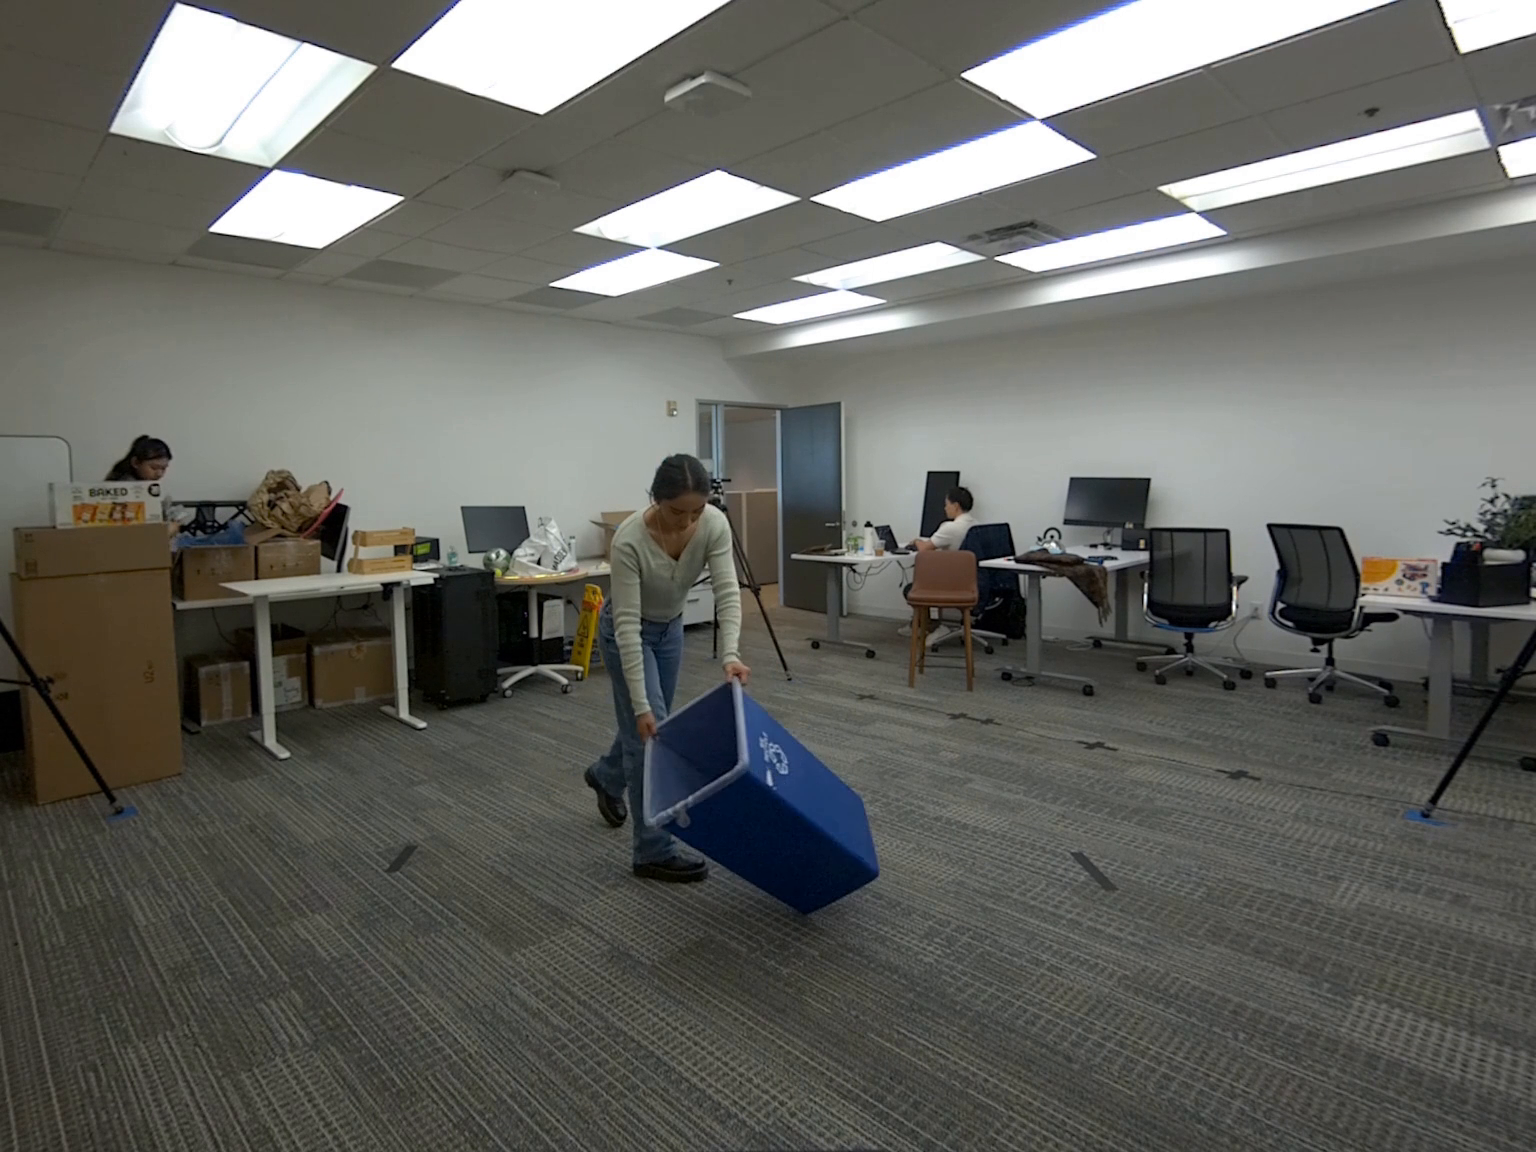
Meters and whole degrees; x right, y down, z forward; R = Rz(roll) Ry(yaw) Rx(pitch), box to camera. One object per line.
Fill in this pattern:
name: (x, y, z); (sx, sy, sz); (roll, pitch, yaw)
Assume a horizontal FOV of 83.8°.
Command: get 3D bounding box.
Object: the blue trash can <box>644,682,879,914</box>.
blue trash can: (-0.007, 0.706, 2.655); (0.380, 0.690, 0.385); (-35, 32, 18)
